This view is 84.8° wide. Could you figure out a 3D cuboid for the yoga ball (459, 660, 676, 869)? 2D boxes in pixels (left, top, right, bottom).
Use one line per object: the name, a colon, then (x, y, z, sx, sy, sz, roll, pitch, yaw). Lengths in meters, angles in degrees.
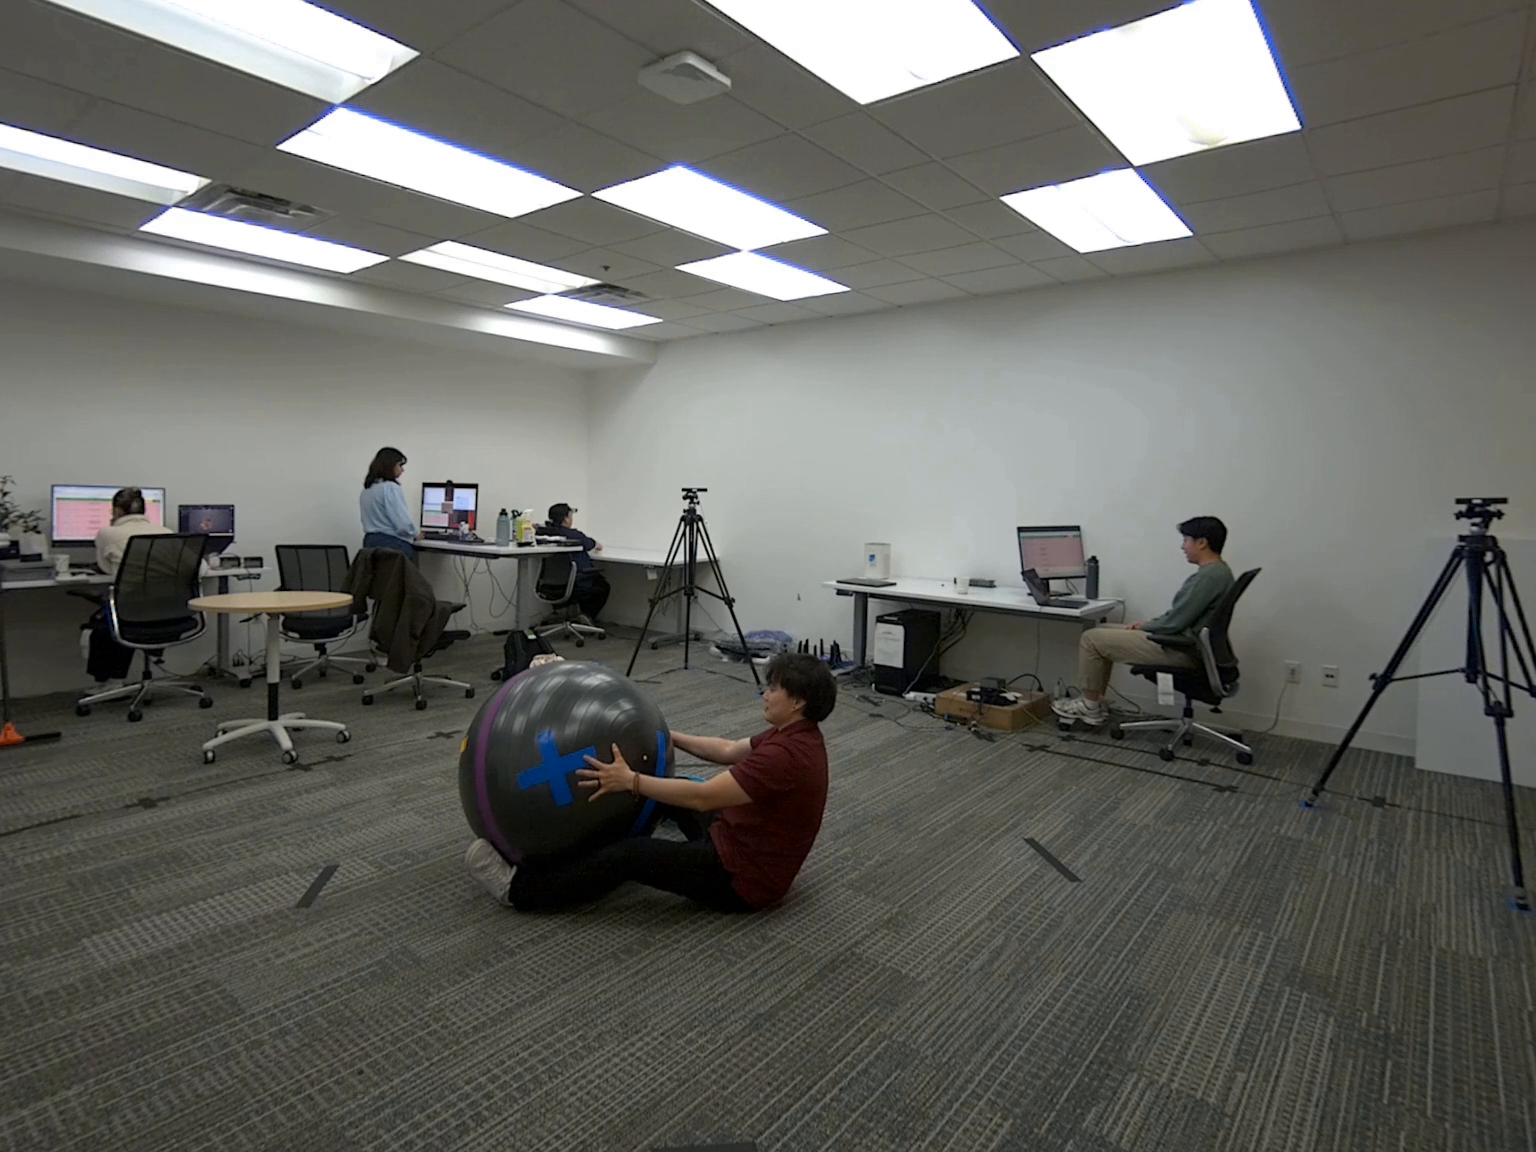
yoga ball: (-0.726, 0.689, 3.040, 0.757, 0.755, 0.762, 1, 4, -2)
